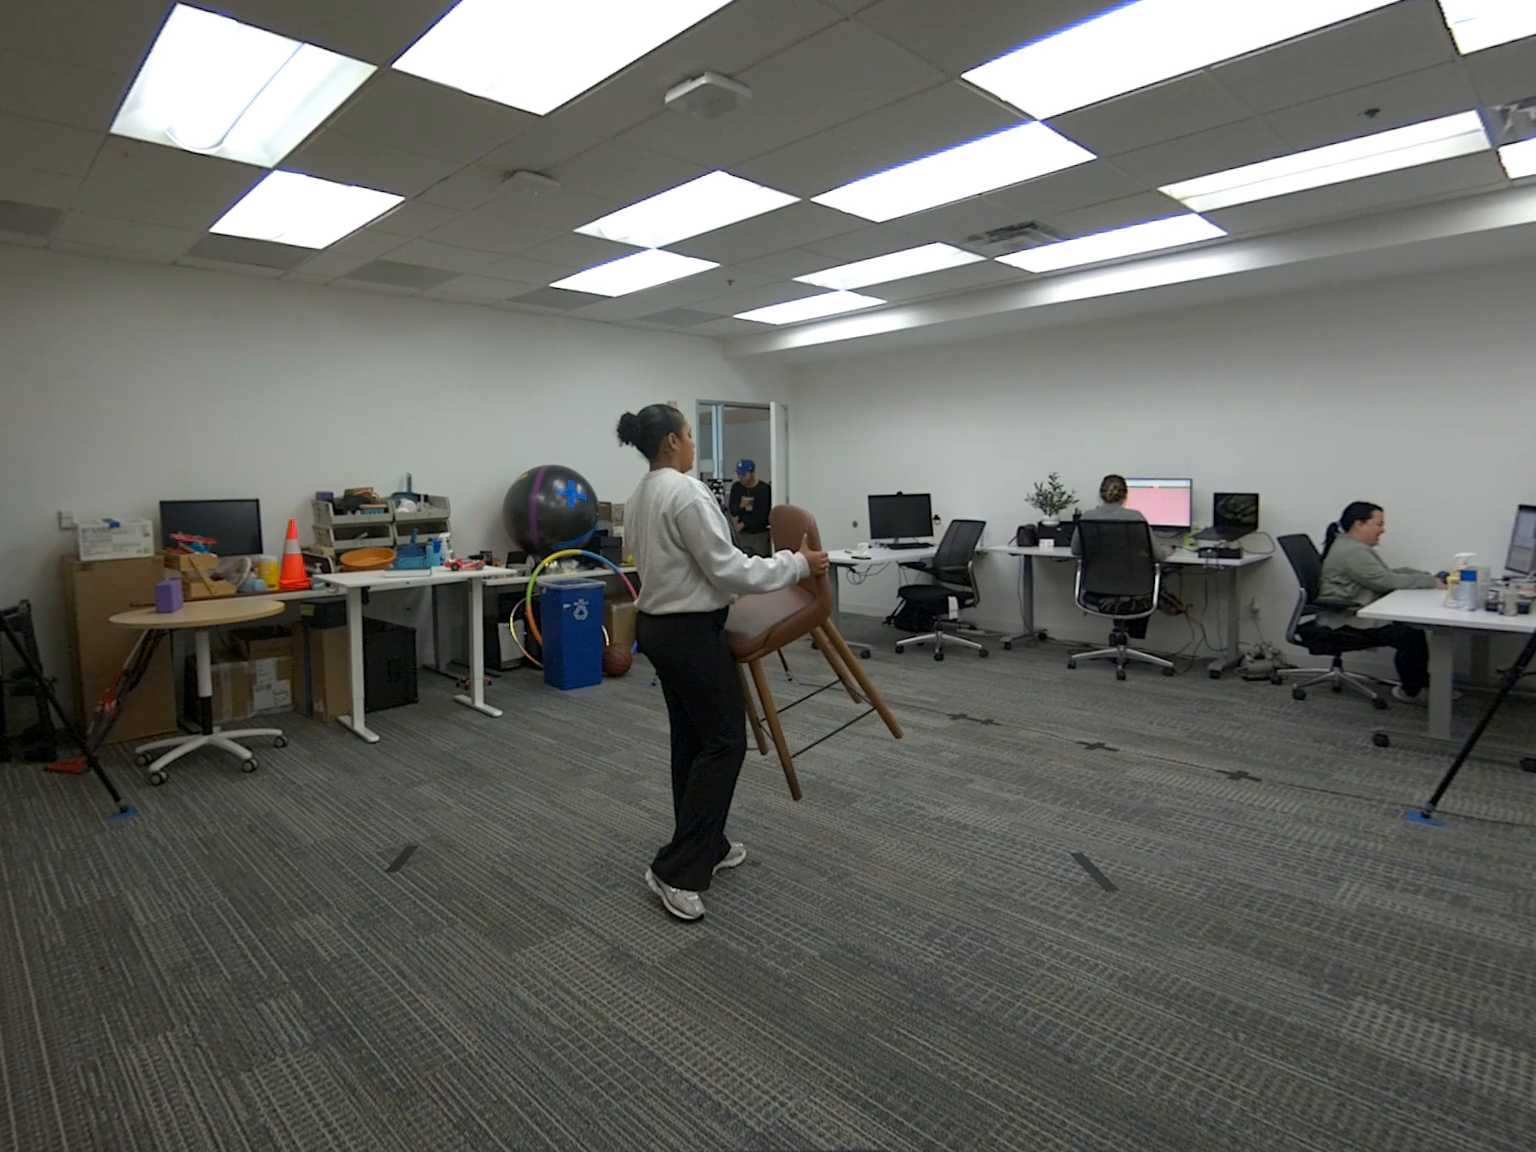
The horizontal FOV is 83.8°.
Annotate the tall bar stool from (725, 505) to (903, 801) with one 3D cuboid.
[{"bbox_3d":[0.069,0.253,3.046,0.465,0.873,0.468,-25,17,-11],"label":"tall bar stool"}]
